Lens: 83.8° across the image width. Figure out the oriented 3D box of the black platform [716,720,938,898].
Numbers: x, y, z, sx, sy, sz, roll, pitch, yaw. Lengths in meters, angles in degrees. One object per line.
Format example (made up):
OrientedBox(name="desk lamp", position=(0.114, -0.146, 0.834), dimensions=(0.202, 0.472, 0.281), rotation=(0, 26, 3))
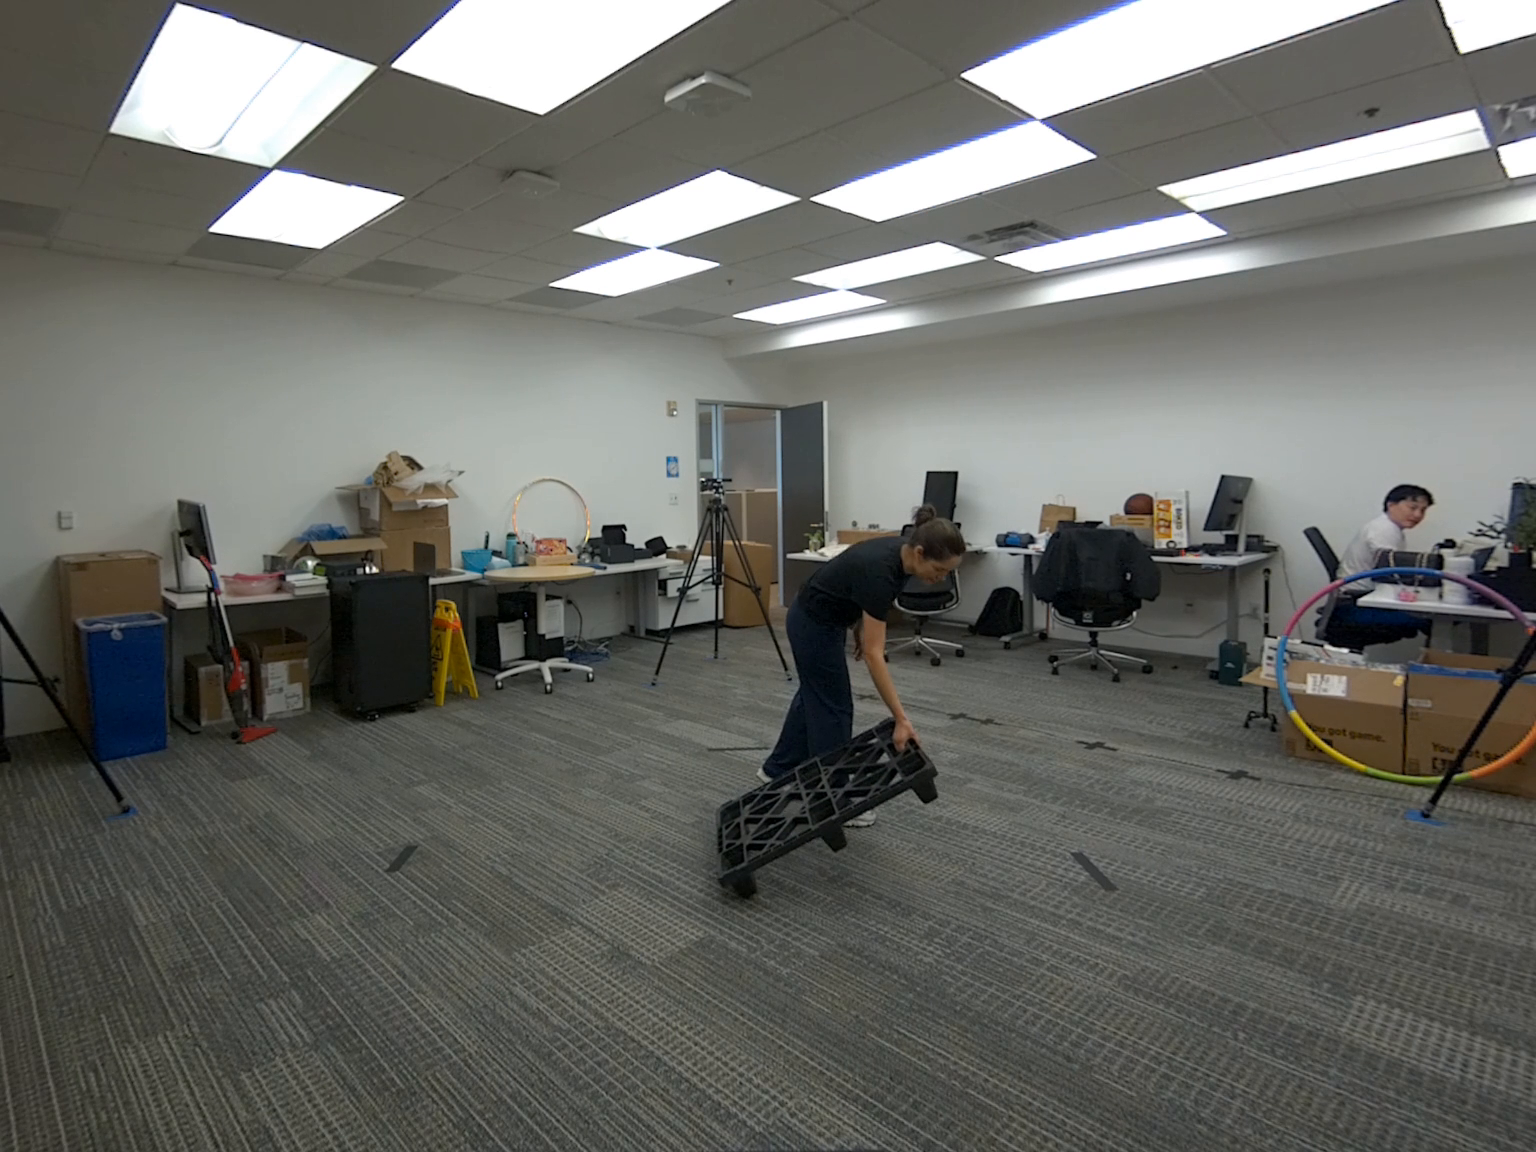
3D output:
OrientedBox(name="black platform", position=(0.201, 0.819, 3.068), dimensions=(0.806, 0.142, 0.609), rotation=(-28, 8, 1))
